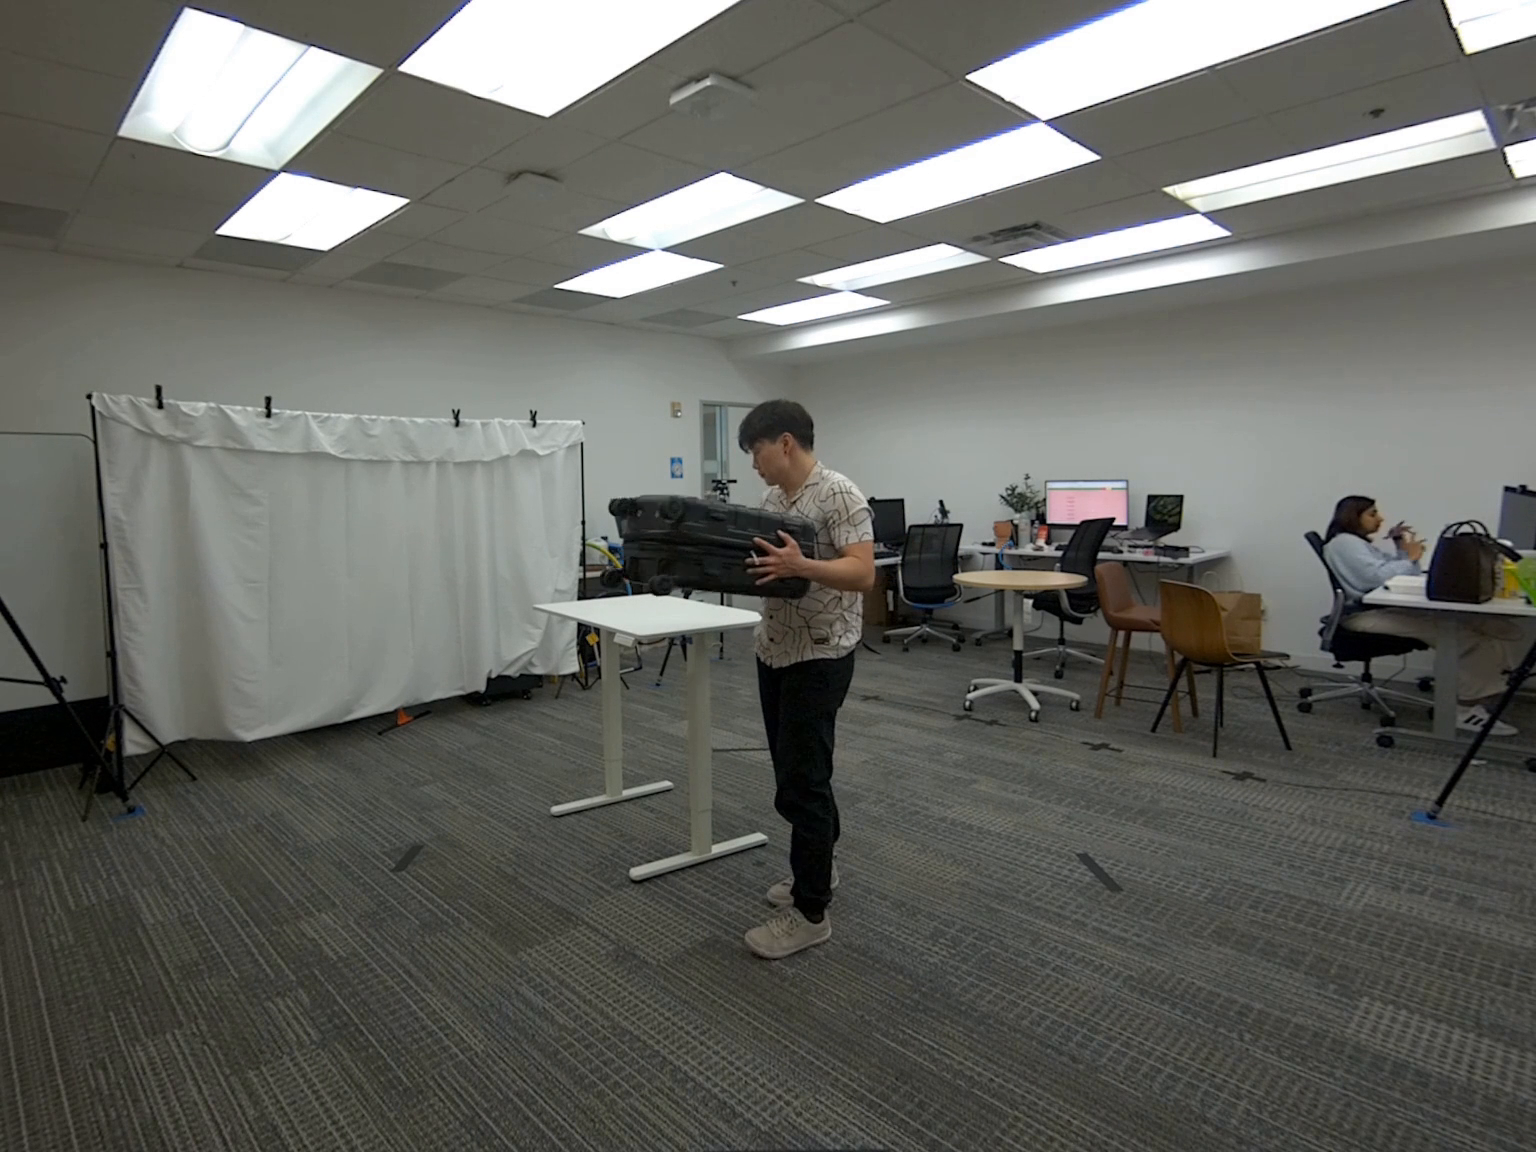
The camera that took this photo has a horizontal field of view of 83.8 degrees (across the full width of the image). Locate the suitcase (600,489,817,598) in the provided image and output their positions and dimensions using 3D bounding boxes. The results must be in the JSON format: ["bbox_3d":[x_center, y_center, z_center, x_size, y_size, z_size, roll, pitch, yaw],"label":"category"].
[{"bbox_3d":[-0.143,-0.085,2.476,0.533,0.249,0.386,6,-1,-35],"label":"suitcase"}]
